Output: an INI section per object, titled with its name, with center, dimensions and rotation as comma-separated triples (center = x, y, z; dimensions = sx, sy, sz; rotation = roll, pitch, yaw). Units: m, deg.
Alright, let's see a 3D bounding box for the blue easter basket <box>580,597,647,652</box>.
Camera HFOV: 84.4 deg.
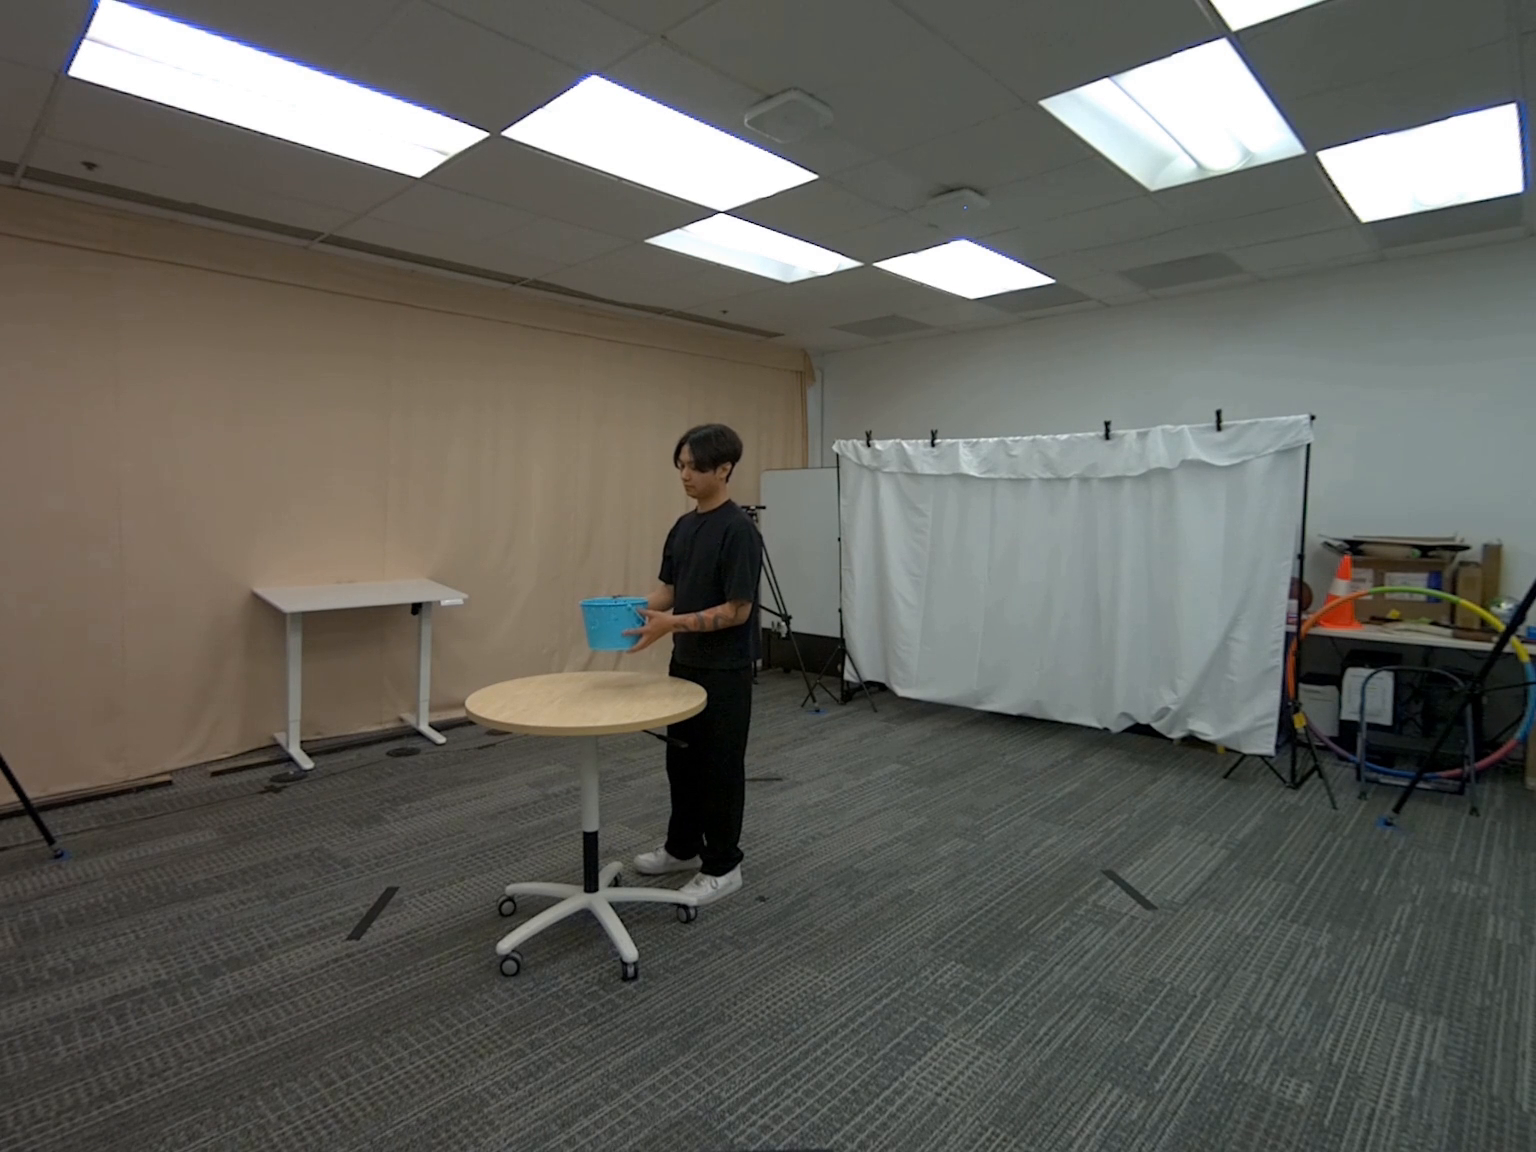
[blue easter basket]
center = -0.503, 0.159, 2.826
dimensions = 0.243, 0.155, 0.244
rotation = -1, 4, -2
